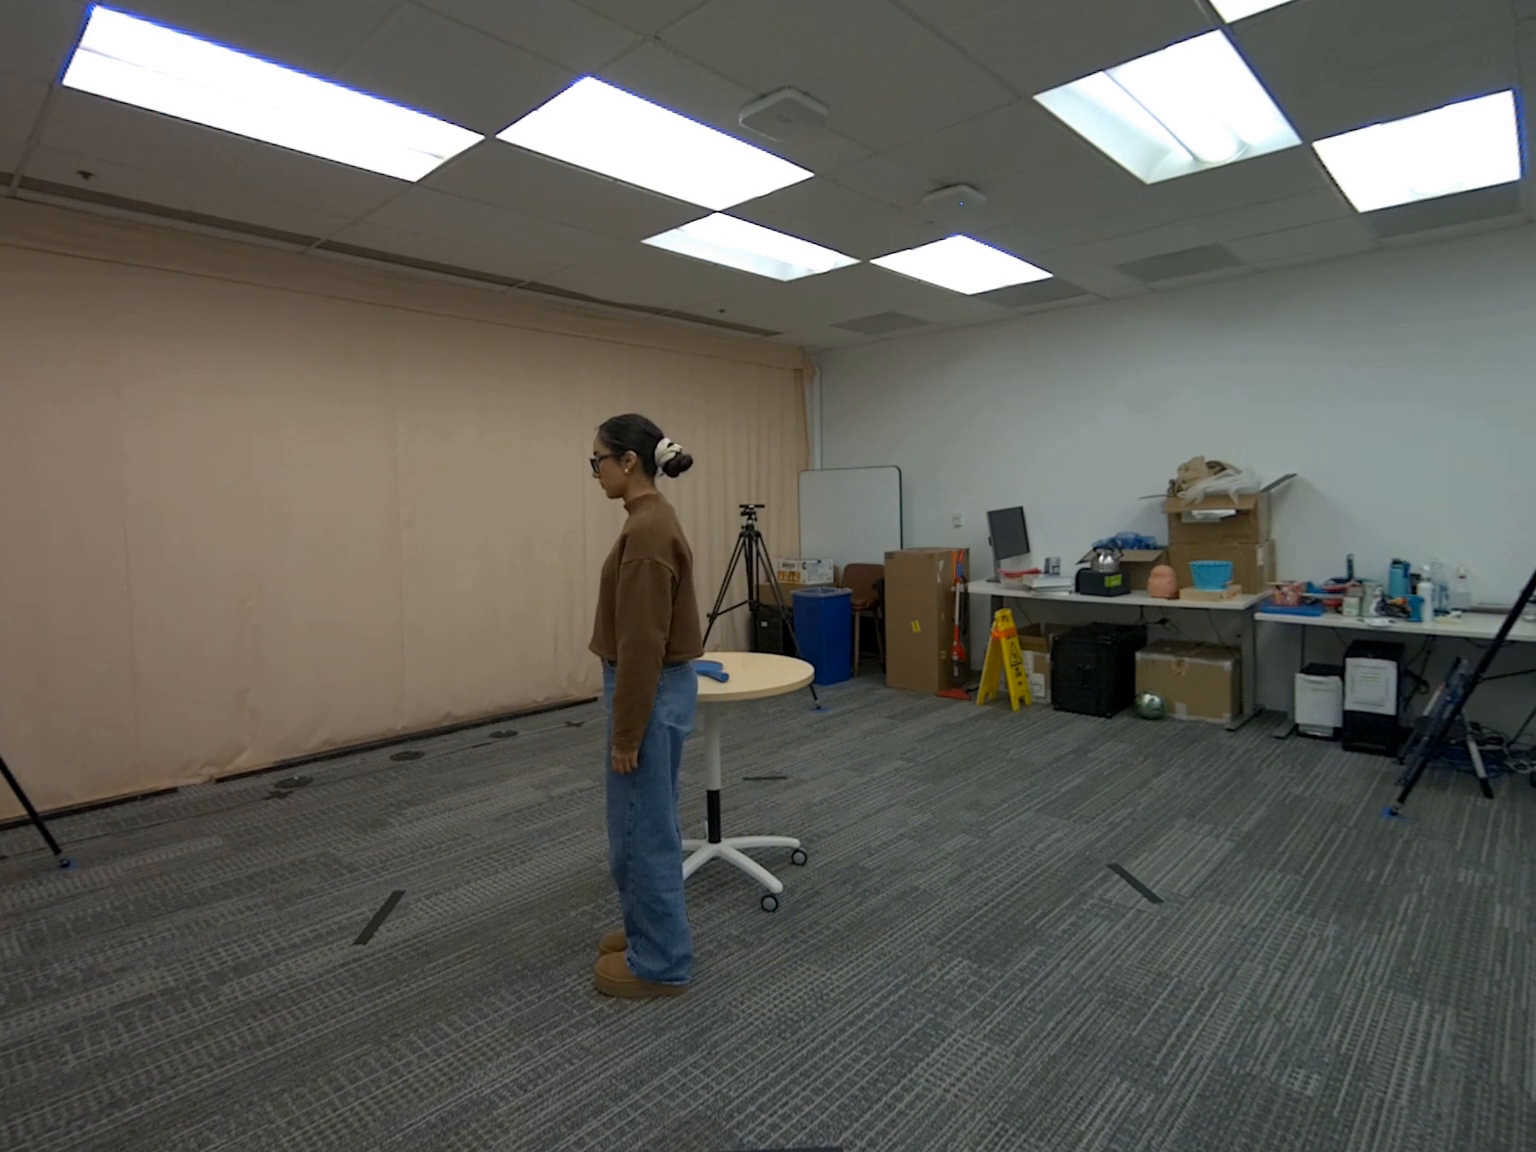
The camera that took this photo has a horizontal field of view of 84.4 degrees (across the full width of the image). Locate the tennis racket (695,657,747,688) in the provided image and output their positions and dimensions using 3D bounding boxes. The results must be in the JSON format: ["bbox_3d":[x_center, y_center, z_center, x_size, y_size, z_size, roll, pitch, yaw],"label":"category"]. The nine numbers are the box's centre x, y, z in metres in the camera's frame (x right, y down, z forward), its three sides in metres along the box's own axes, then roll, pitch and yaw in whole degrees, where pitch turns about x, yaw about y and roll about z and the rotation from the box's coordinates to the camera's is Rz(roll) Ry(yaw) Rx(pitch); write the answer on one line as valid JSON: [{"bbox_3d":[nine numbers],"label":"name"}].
[{"bbox_3d":[-0.257,0.346,3.080,0.209,0.032,0.442,-2,3,-22],"label":"tennis racket"}]
